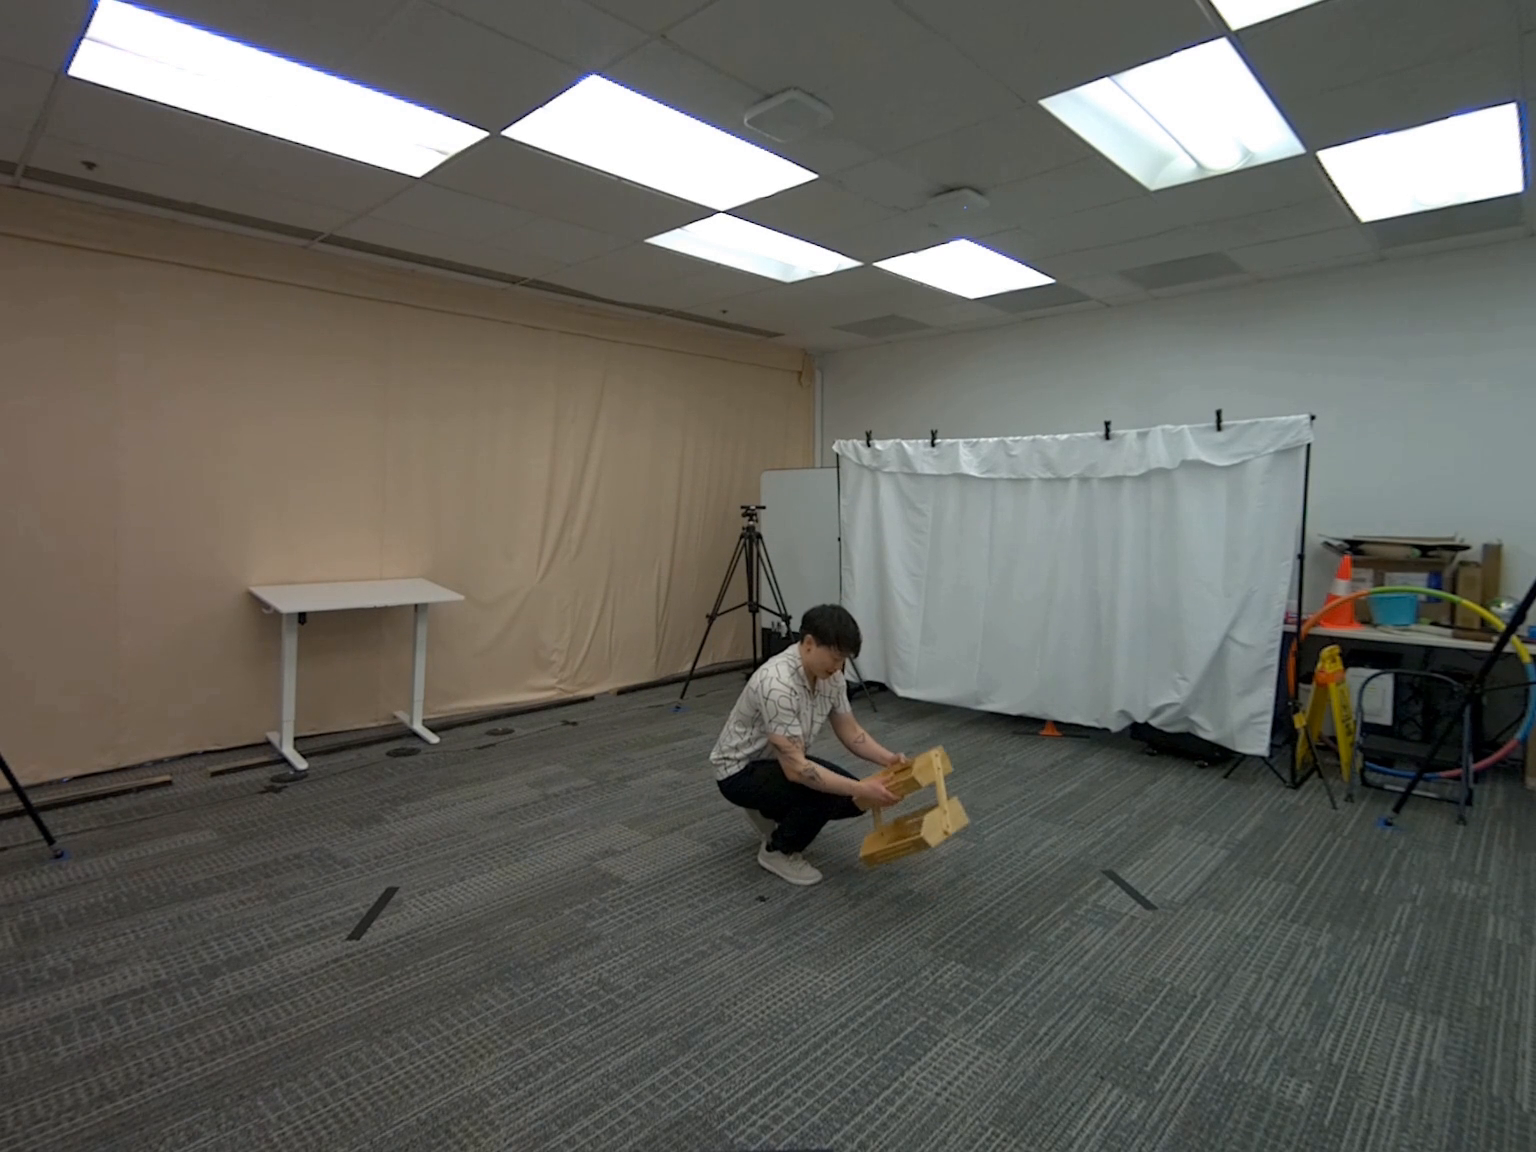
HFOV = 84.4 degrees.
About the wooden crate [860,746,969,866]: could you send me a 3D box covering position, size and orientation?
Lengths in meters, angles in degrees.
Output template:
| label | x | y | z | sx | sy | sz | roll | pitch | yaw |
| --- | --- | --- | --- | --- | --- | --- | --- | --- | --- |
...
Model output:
| label | x | y | z | sx | sy | sz | roll | pitch | yaw |
| --- | --- | --- | --- | --- | --- | --- | --- | --- | --- |
| wooden crate | 0.463 | 0.784 | 2.898 | 0.293 | 0.277 | 0.329 | -11 | -20 | -44 |
